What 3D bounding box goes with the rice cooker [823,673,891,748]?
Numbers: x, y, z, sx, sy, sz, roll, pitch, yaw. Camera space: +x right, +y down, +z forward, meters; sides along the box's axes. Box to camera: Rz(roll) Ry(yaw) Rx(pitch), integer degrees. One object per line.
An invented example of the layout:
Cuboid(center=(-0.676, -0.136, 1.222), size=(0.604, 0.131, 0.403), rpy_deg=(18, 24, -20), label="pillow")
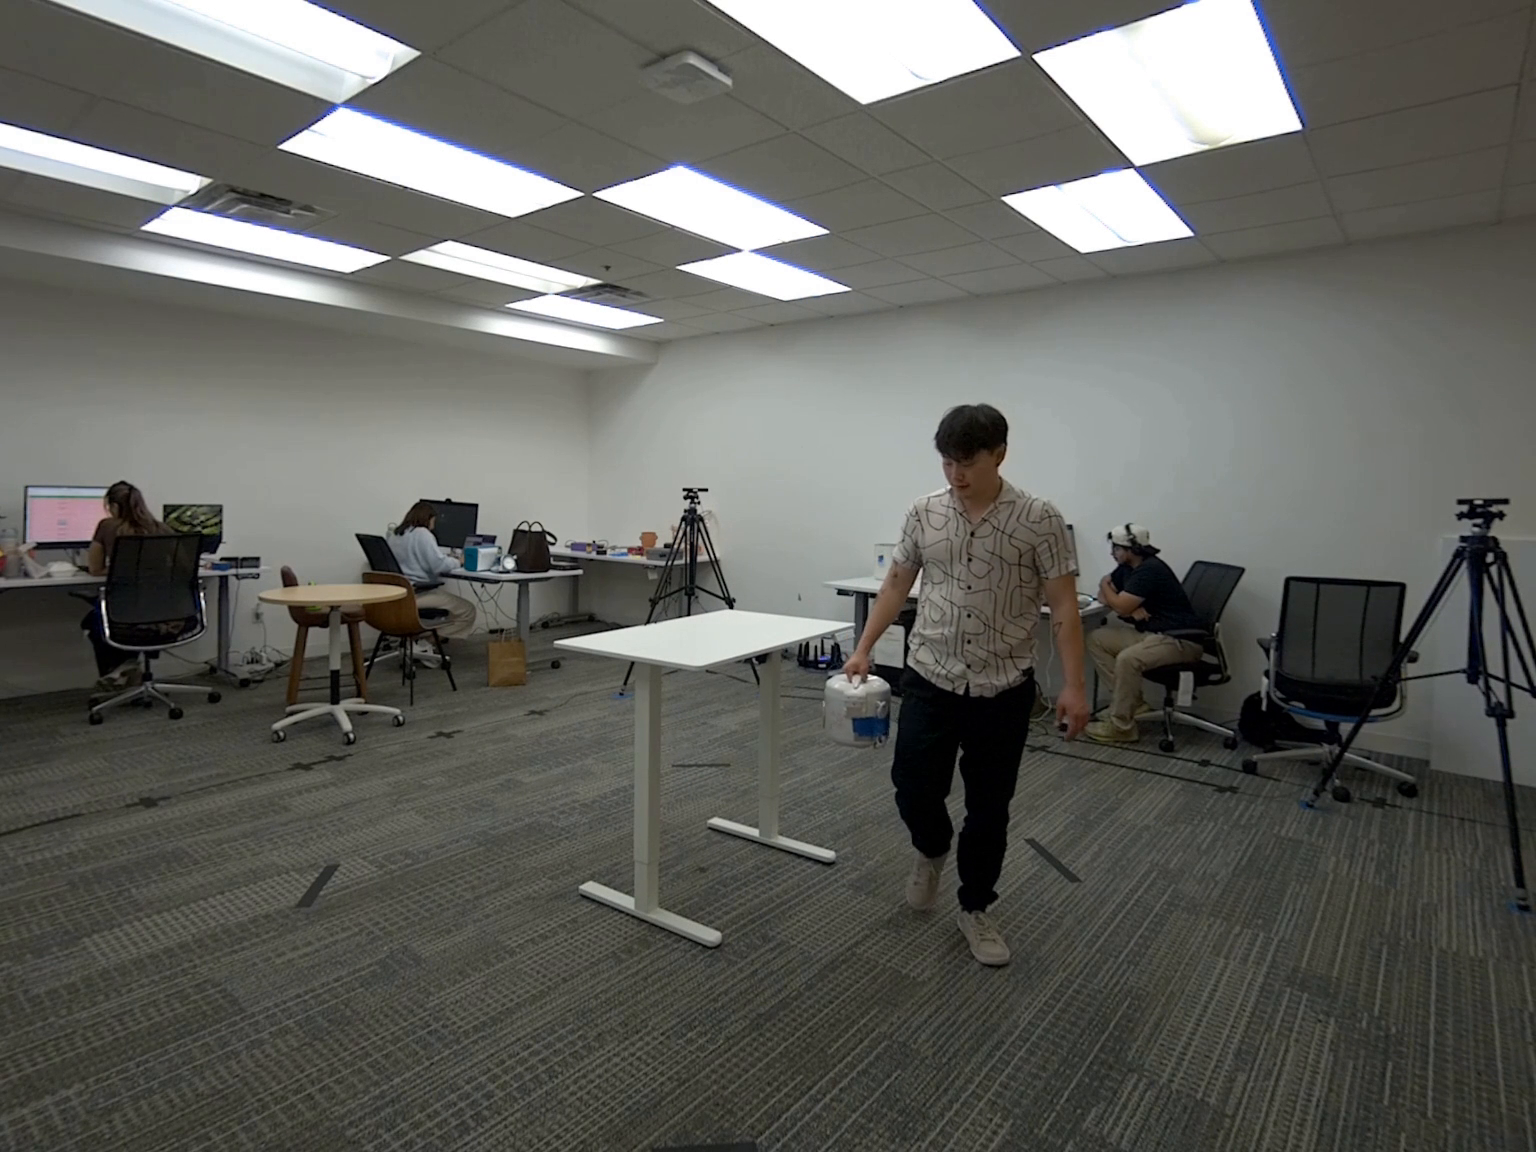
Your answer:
Cuboid(center=(0.280, 0.424, 2.759), size=(0.221, 0.232, 0.218), rpy_deg=(2, 5, 14), label="rice cooker")
